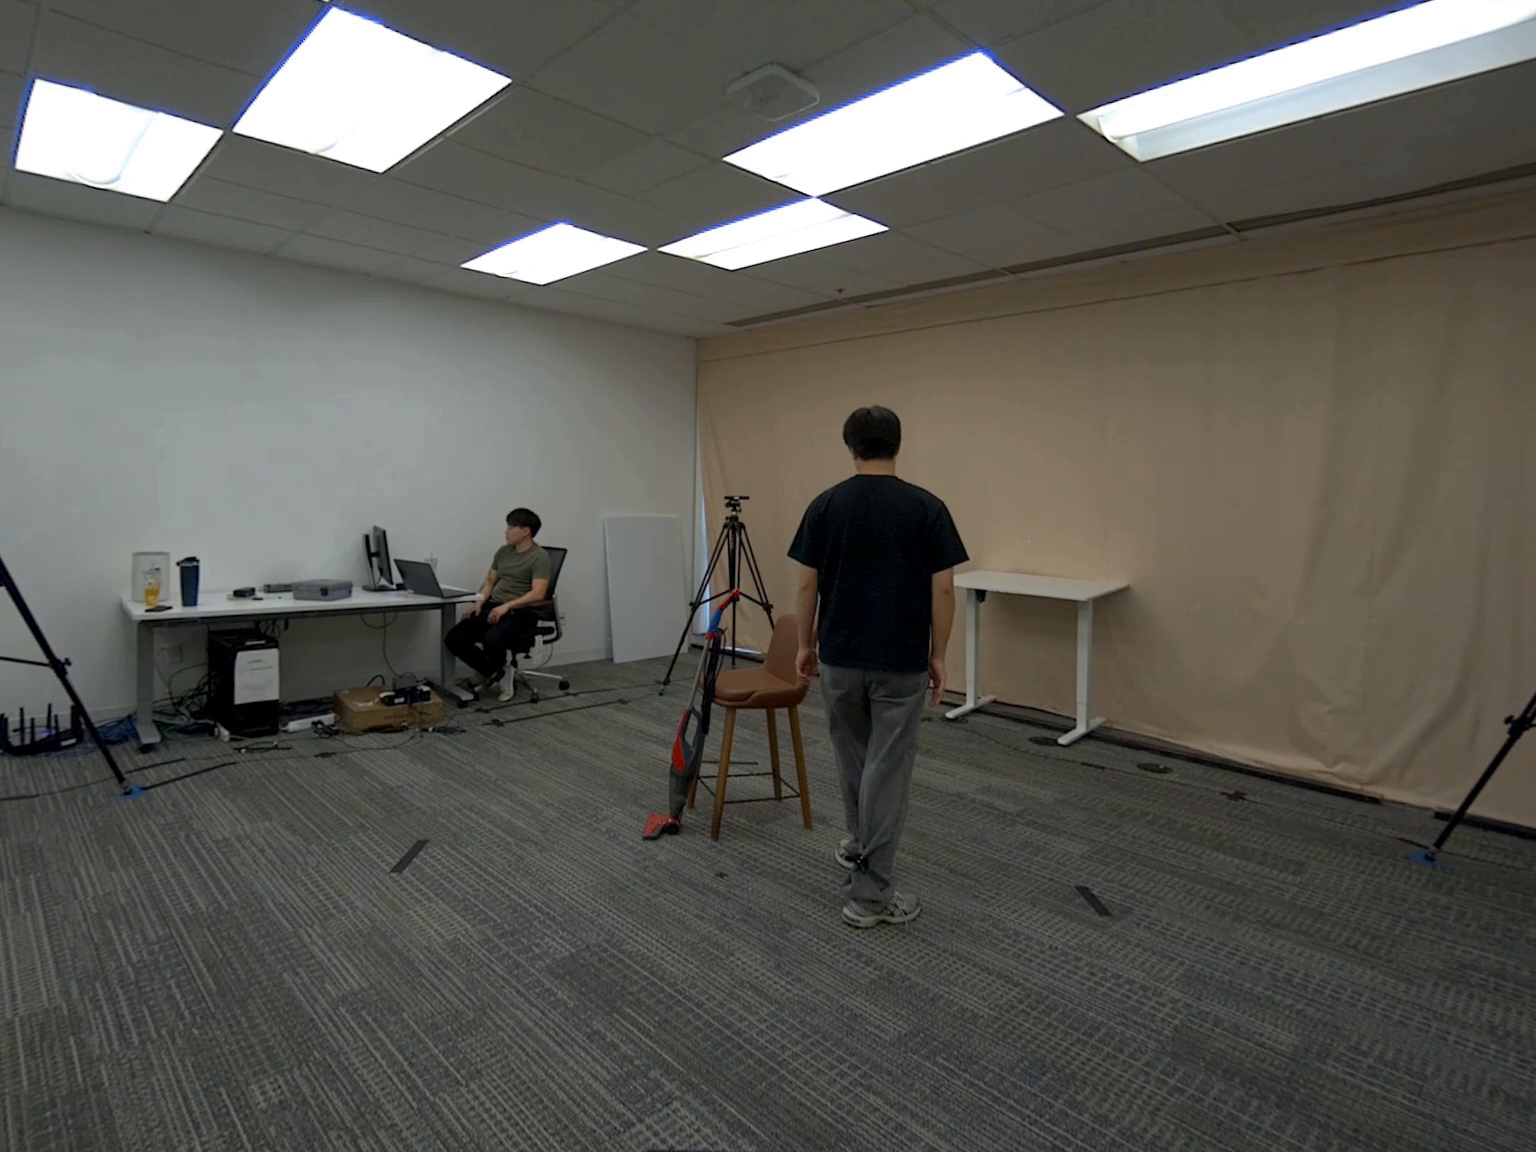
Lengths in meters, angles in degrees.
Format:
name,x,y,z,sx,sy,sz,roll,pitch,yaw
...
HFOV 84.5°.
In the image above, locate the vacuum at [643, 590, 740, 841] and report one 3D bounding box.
name,x,y,z,sx,sy,sz,roll,pitch,yaw
vacuum,-0.291,0.558,3.491,0.144,1.048,0.252,17,3,0
